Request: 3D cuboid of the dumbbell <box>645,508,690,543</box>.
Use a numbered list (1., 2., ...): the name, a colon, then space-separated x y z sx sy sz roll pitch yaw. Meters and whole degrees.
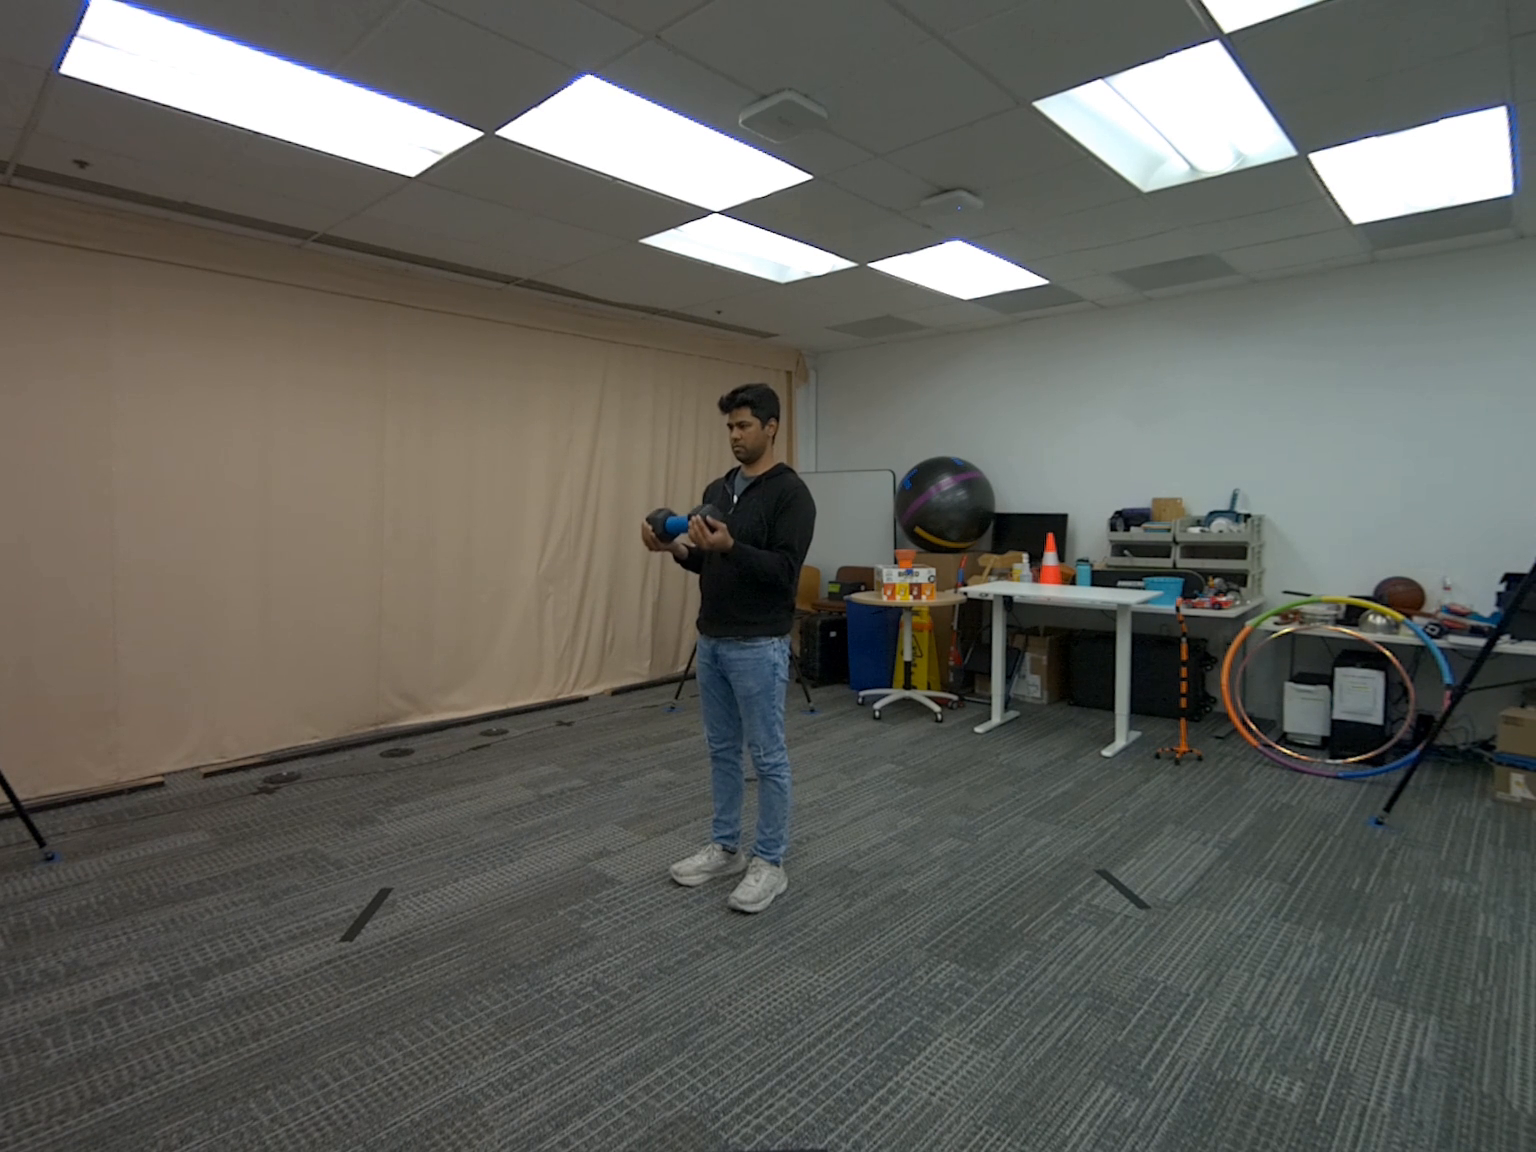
1. dumbbell: -0.269 -0.160 2.849 0.303 0.106 0.121 2 34 42
